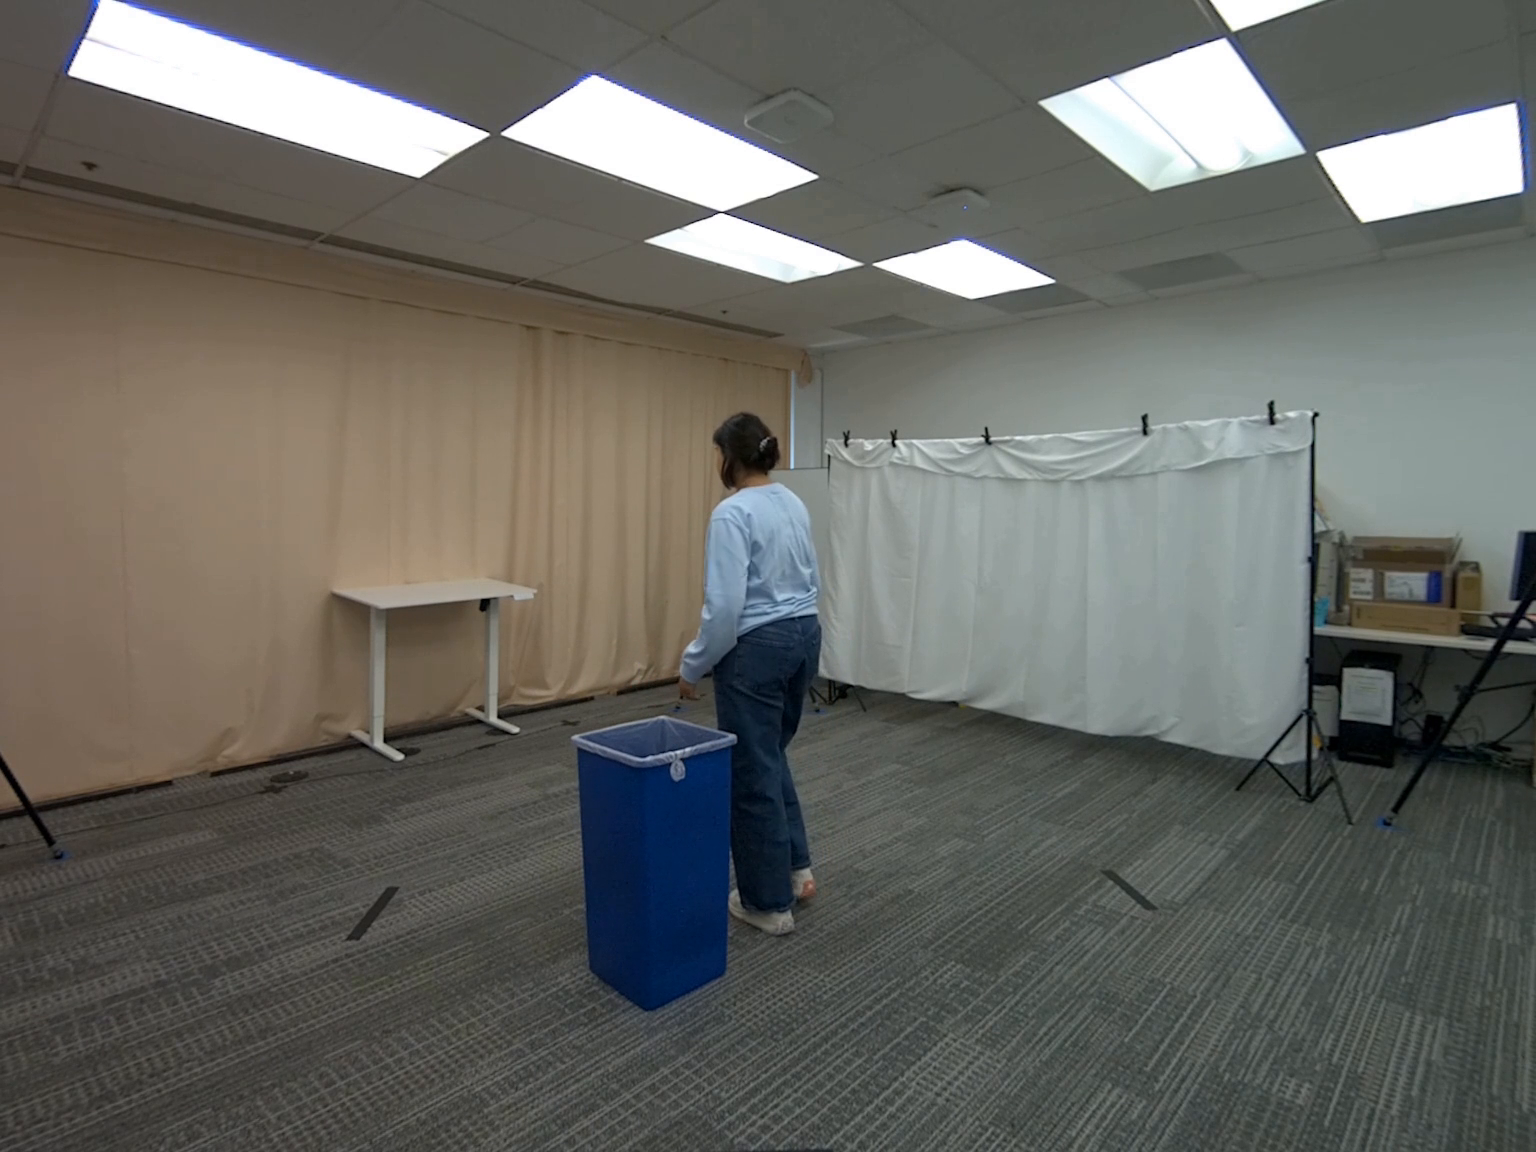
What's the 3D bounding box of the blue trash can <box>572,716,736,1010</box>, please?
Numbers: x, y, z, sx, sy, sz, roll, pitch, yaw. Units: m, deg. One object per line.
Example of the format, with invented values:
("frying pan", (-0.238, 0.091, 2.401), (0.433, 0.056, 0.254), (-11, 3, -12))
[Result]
("blue trash can", (-0.341, 0.830, 2.507), (0.366, 0.712, 0.386), (-3, 4, -44))
